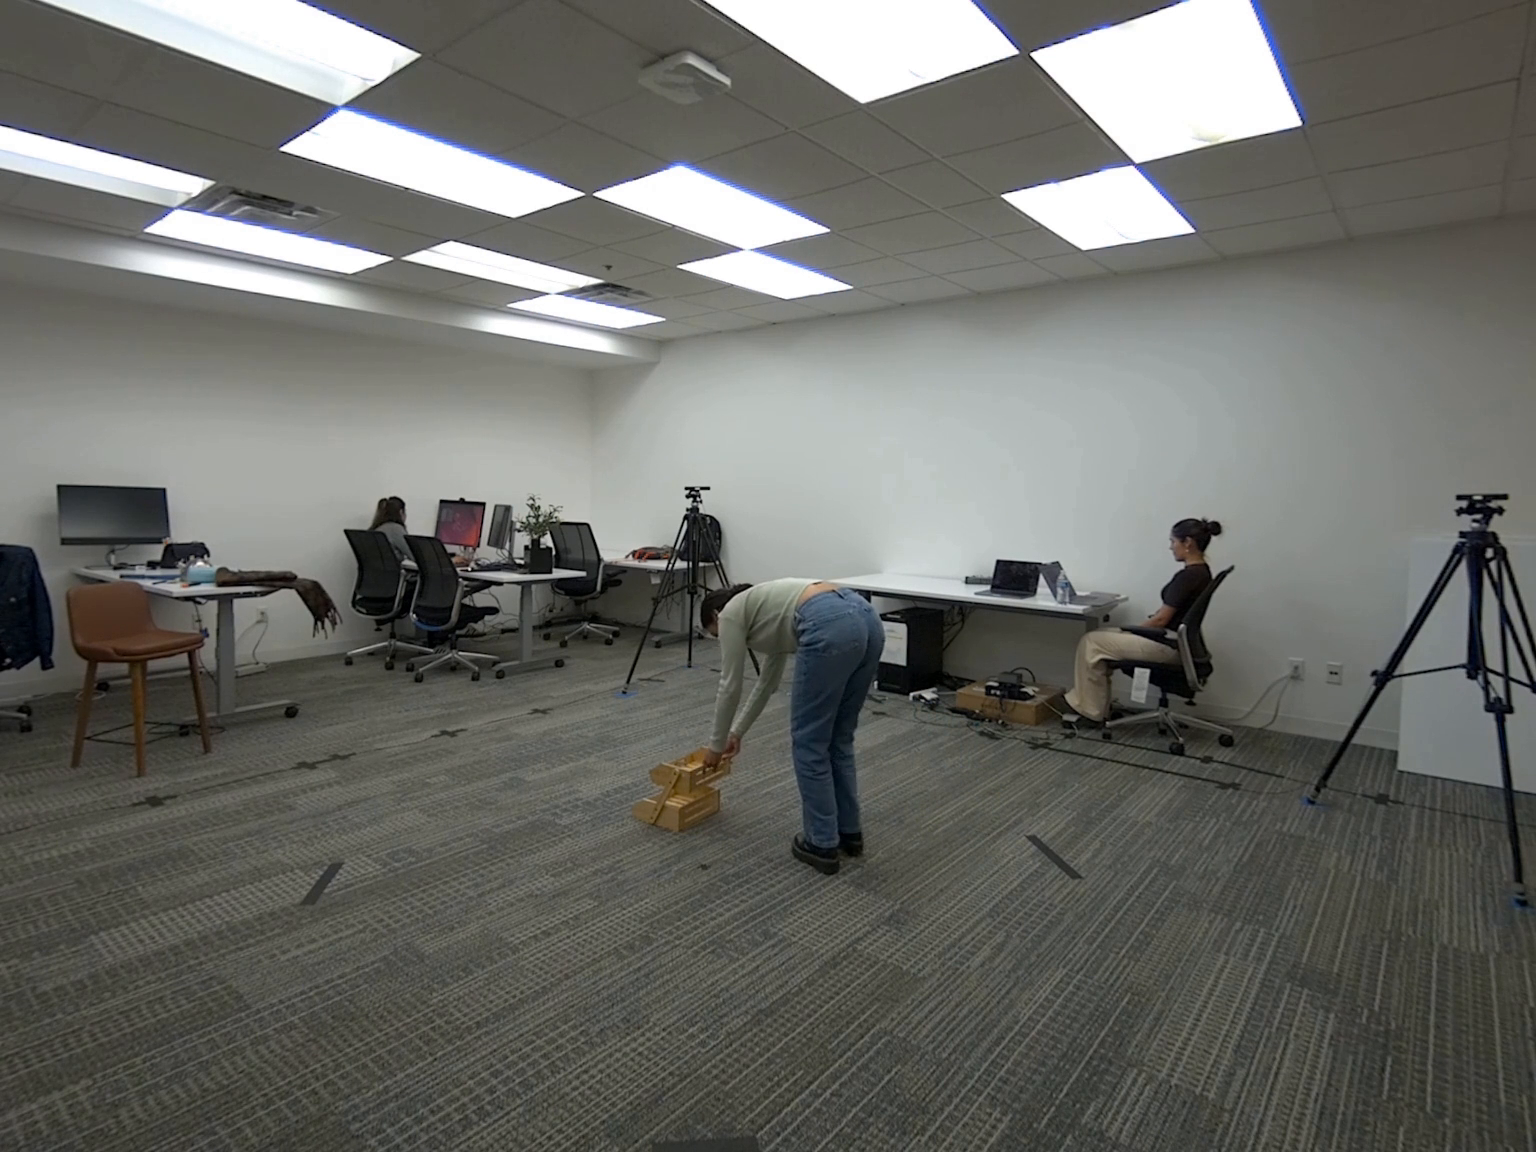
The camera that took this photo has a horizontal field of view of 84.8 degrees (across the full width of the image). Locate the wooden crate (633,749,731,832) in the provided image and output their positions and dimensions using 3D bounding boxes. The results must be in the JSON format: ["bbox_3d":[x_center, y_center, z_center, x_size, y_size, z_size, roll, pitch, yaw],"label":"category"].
[{"bbox_3d":[-0.380,0.878,3.610,0.311,0.272,0.316,5,6,32],"label":"wooden crate"}]
